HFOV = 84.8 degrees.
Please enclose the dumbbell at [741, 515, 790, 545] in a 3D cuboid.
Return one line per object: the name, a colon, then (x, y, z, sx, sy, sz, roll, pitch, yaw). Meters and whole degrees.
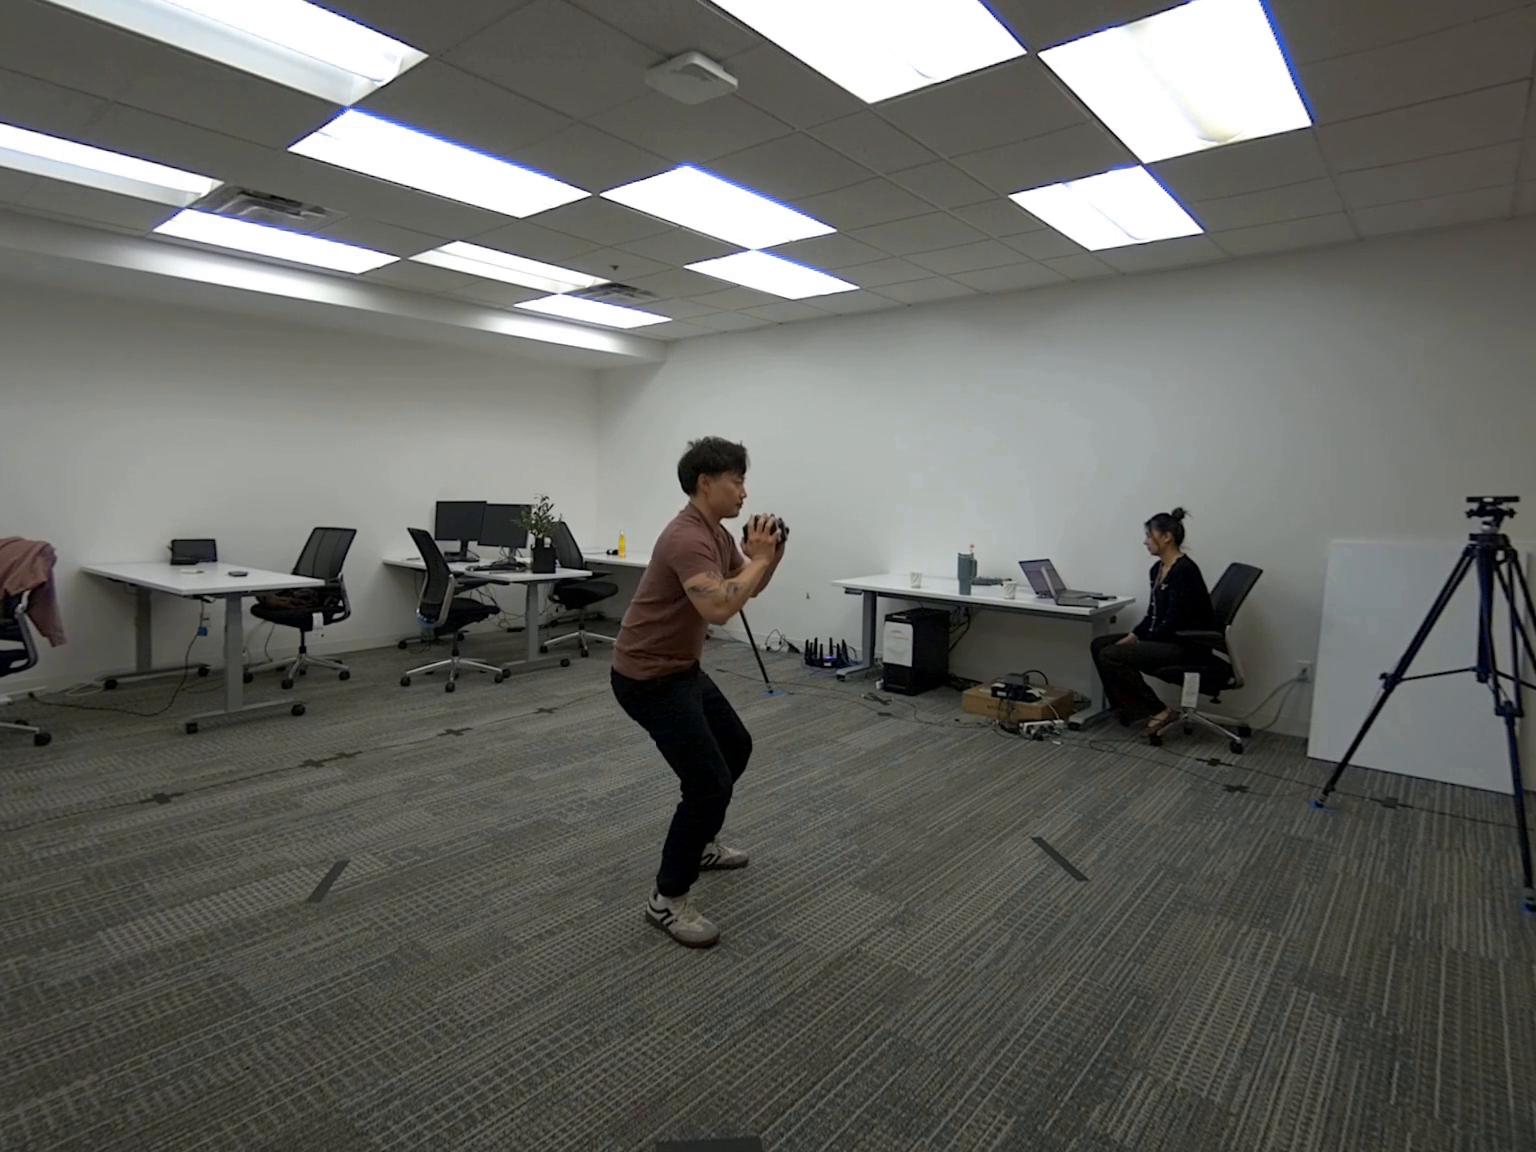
dumbbell: (-0.019, -0.124, 2.795, 0.124, 0.108, 0.291, 22, 4, 6)
